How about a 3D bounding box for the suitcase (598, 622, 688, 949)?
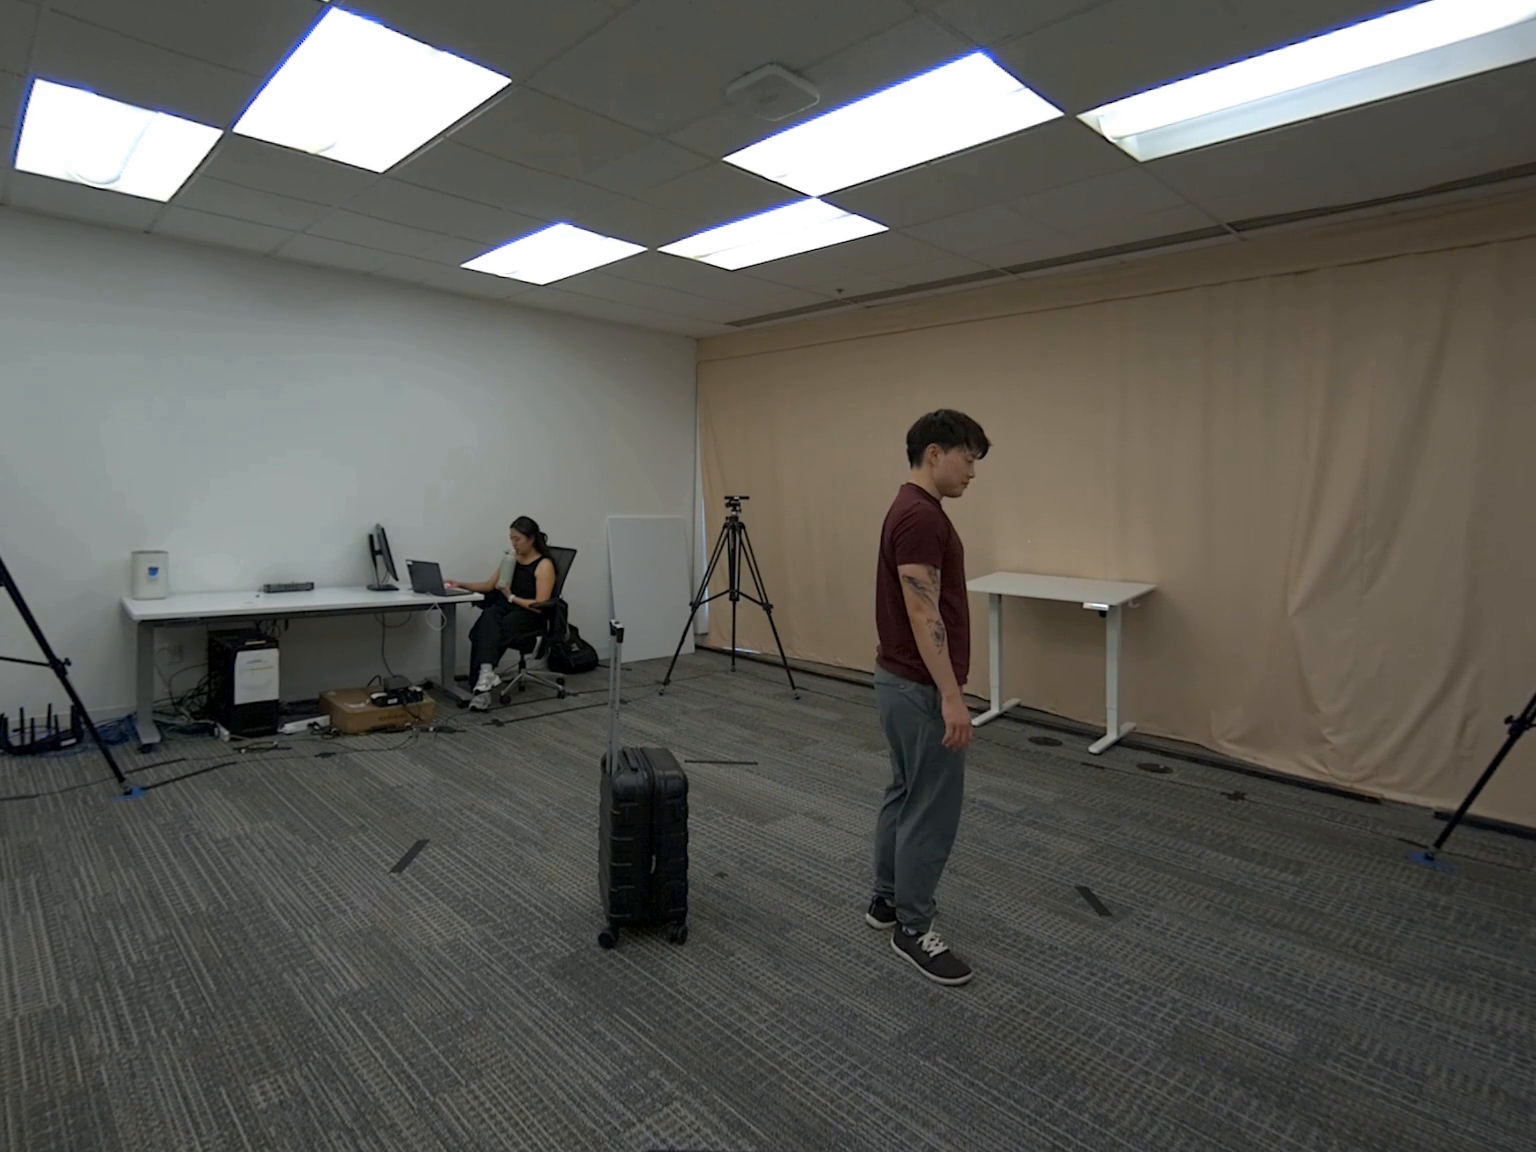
[{"bbox_3d":[-0.417,0.657,2.741,0.255,0.976,0.388,0,4,-12],"label":"suitcase"}]
